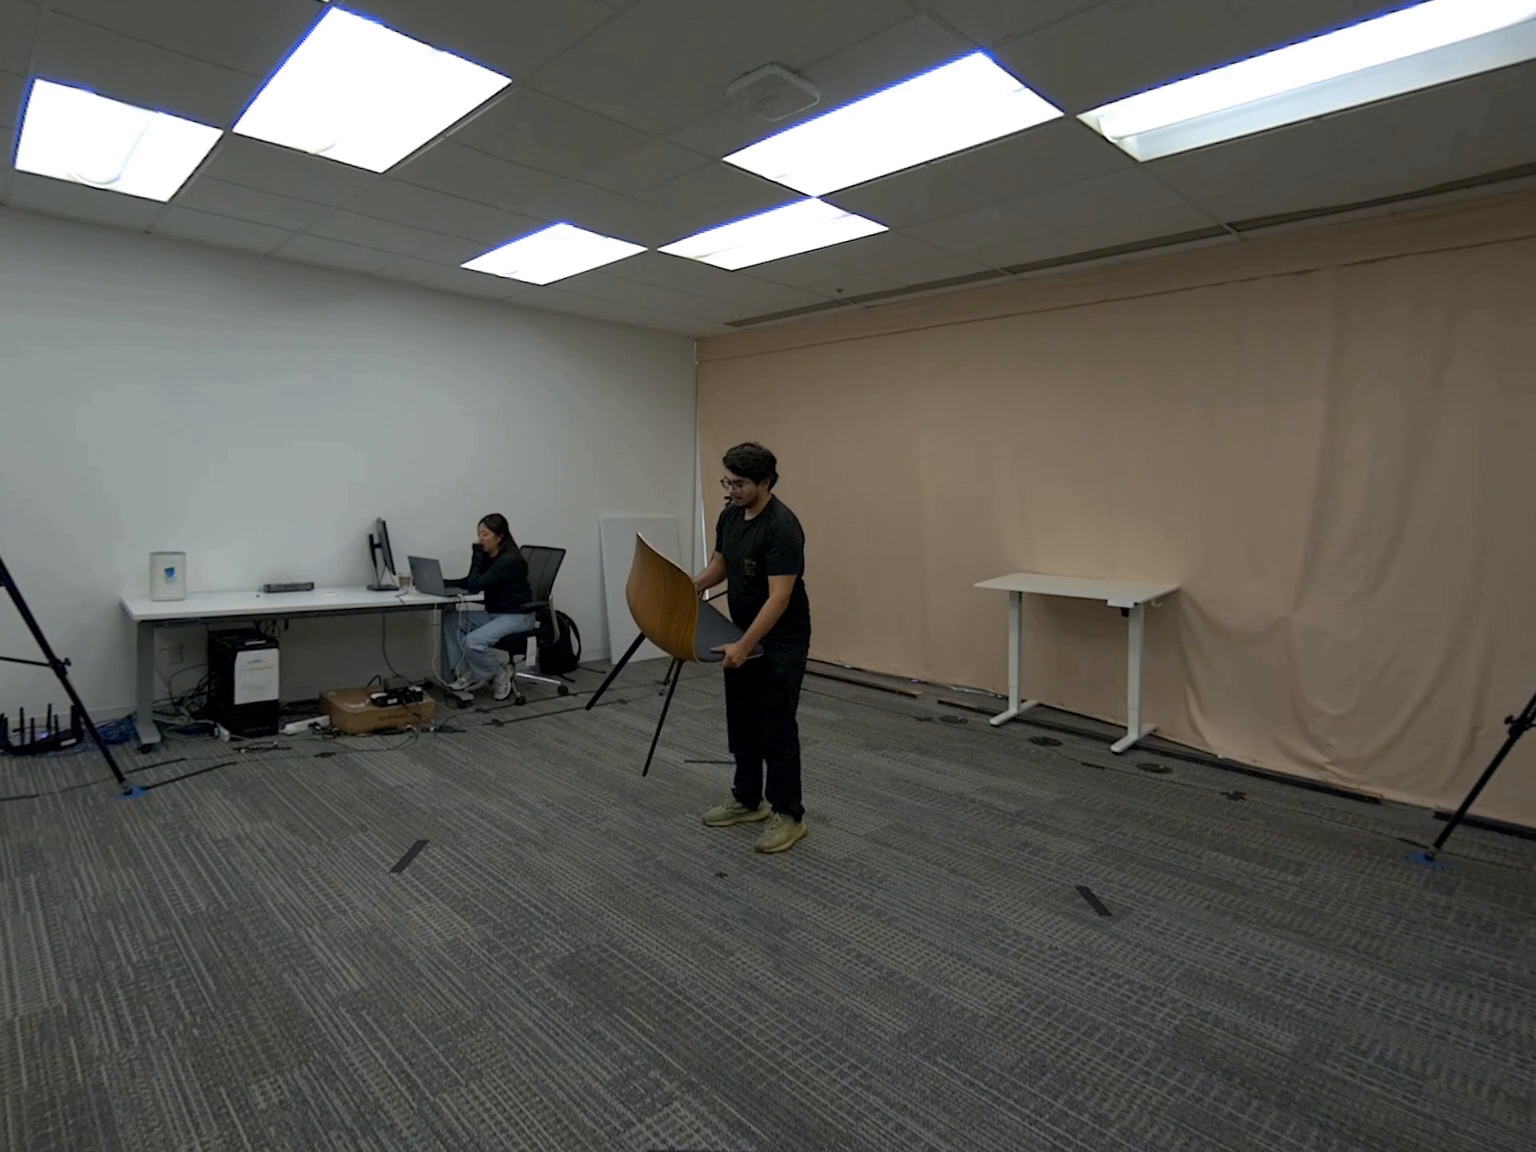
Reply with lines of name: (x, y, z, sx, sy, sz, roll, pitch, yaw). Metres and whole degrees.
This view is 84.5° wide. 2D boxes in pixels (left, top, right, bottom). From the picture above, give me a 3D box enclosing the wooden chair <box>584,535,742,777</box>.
wooden chair: (-0.329, 0.257, 3.273, 0.512, 0.867, 0.493, -7, 30, -40)
